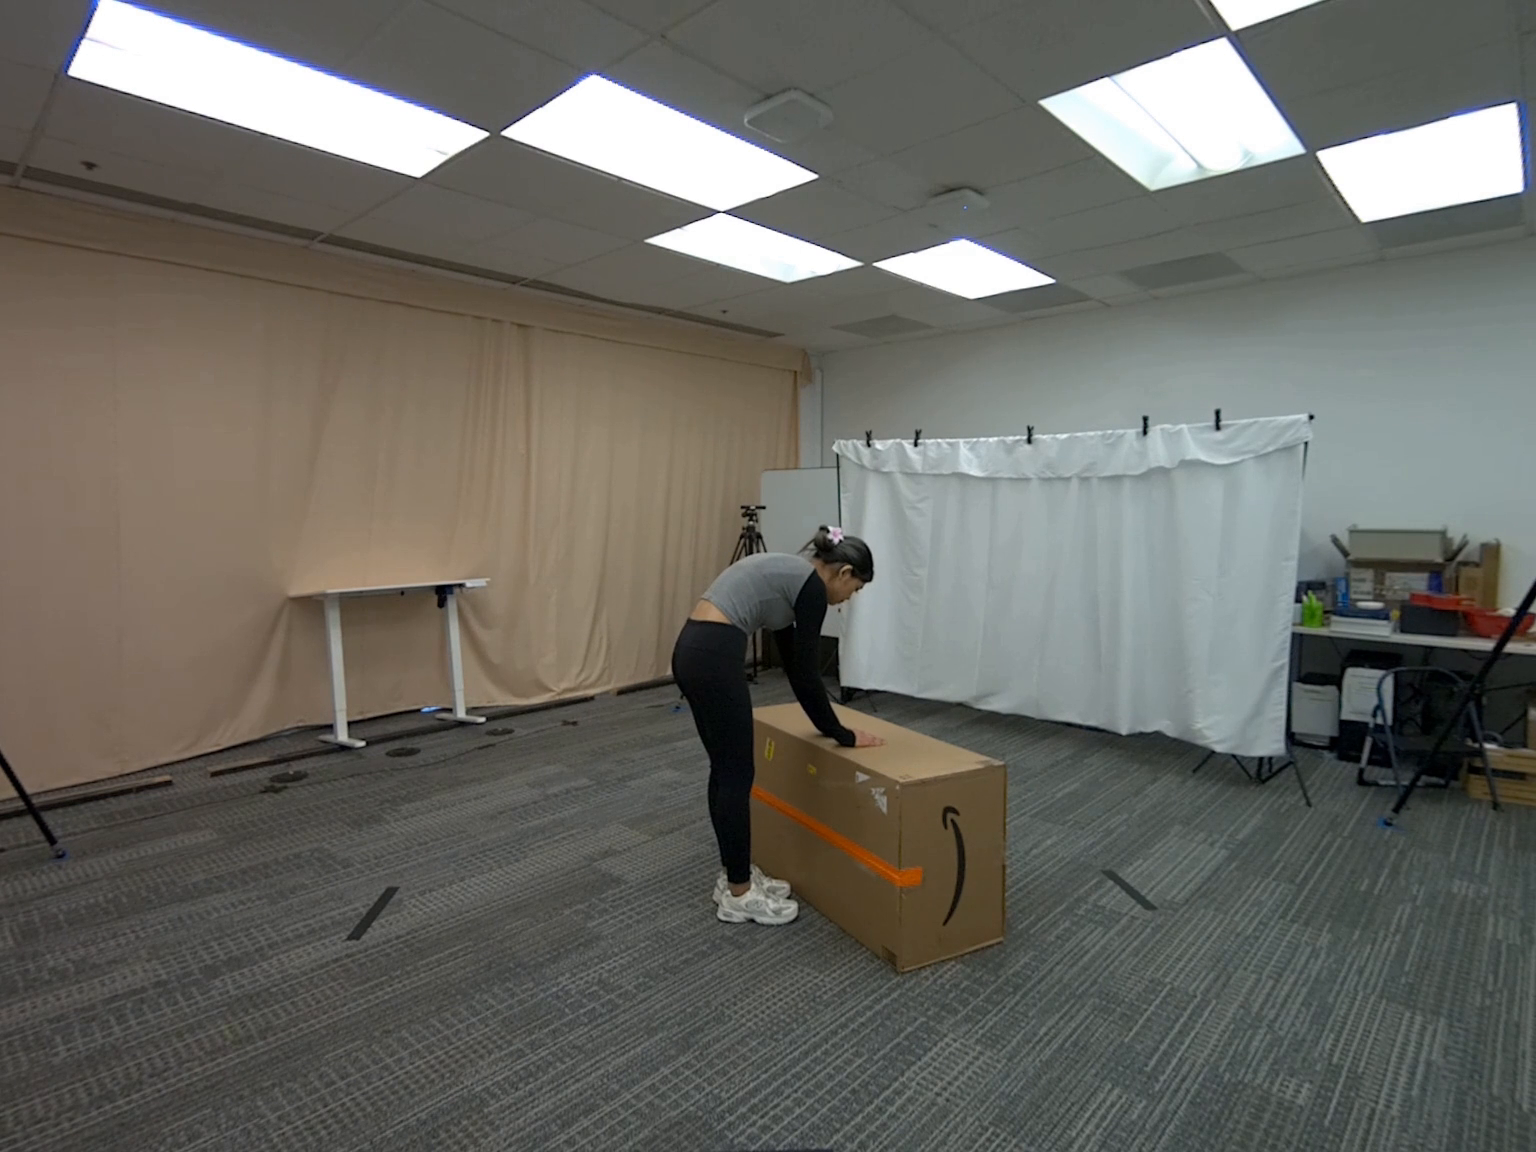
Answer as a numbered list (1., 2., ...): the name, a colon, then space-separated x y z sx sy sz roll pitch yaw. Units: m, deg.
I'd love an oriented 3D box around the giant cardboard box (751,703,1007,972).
1. giant cardboard box: 0.321 0.850 3.033 0.415 0.576 1.055 -2 4 -29
